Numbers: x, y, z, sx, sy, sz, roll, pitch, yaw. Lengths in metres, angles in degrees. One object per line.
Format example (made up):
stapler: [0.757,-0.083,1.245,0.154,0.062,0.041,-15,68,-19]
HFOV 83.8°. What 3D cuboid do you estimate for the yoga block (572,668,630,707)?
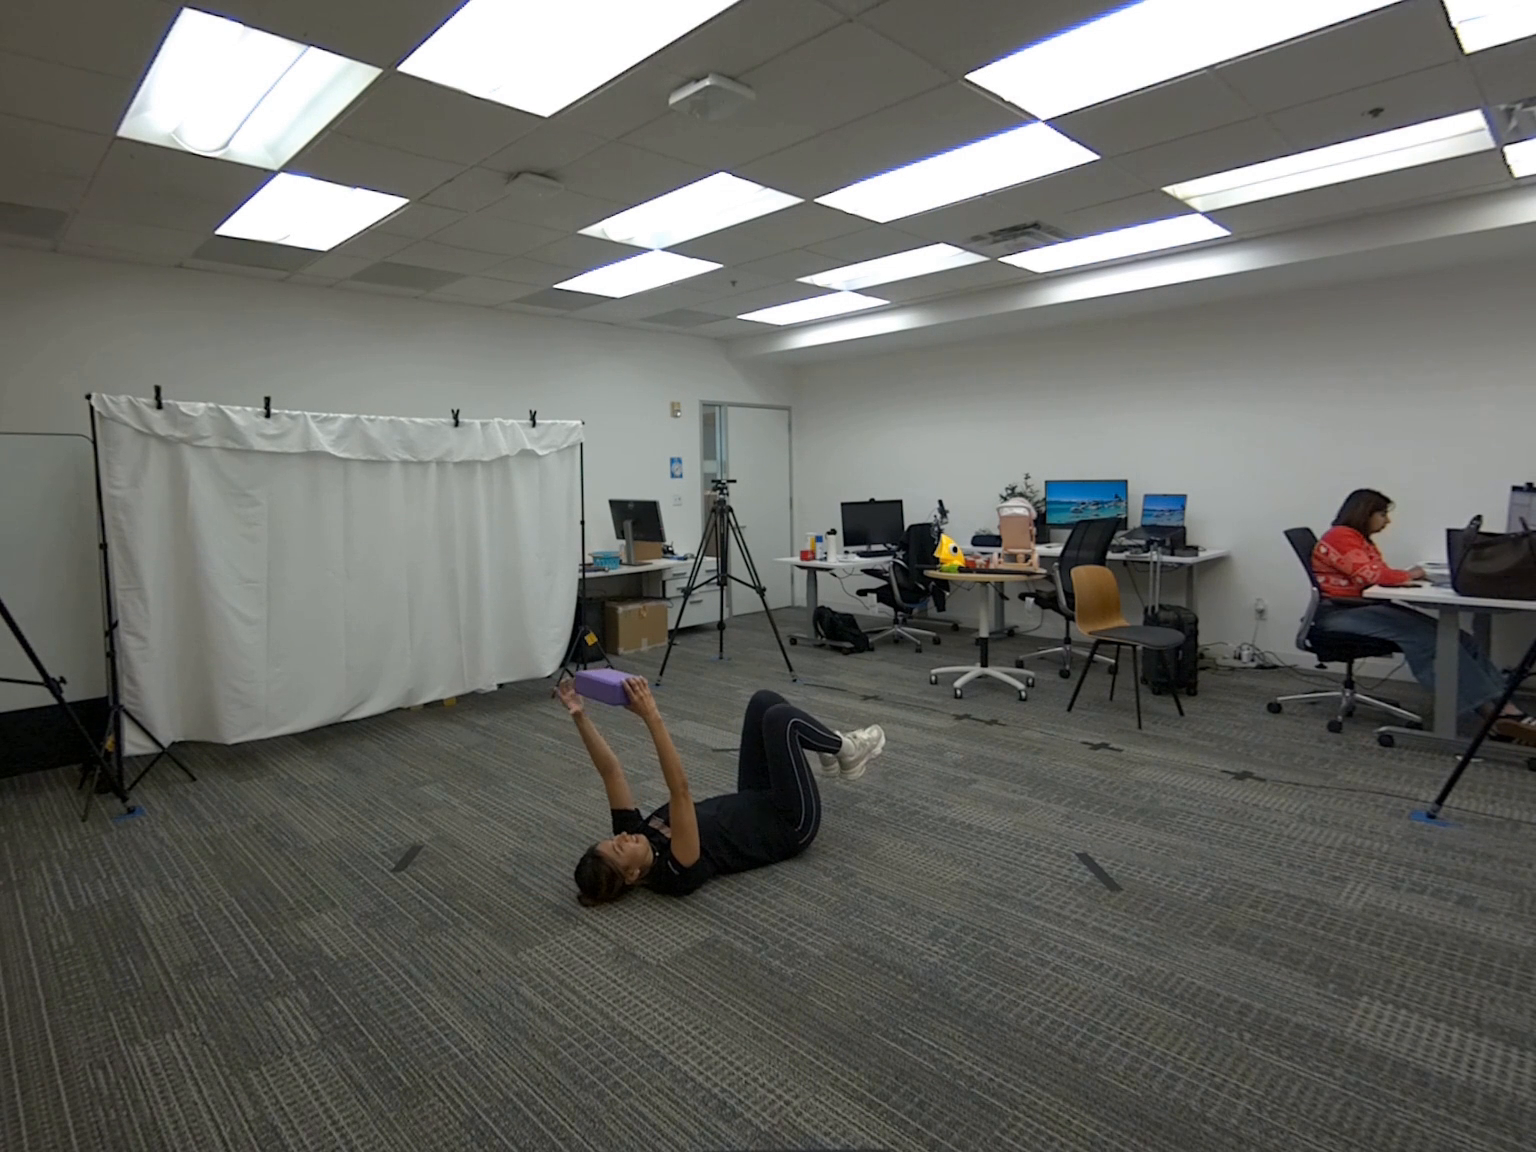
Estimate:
yoga block: [-0.527,0.371,2.859,0.144,0.076,0.237,0,5,-45]
